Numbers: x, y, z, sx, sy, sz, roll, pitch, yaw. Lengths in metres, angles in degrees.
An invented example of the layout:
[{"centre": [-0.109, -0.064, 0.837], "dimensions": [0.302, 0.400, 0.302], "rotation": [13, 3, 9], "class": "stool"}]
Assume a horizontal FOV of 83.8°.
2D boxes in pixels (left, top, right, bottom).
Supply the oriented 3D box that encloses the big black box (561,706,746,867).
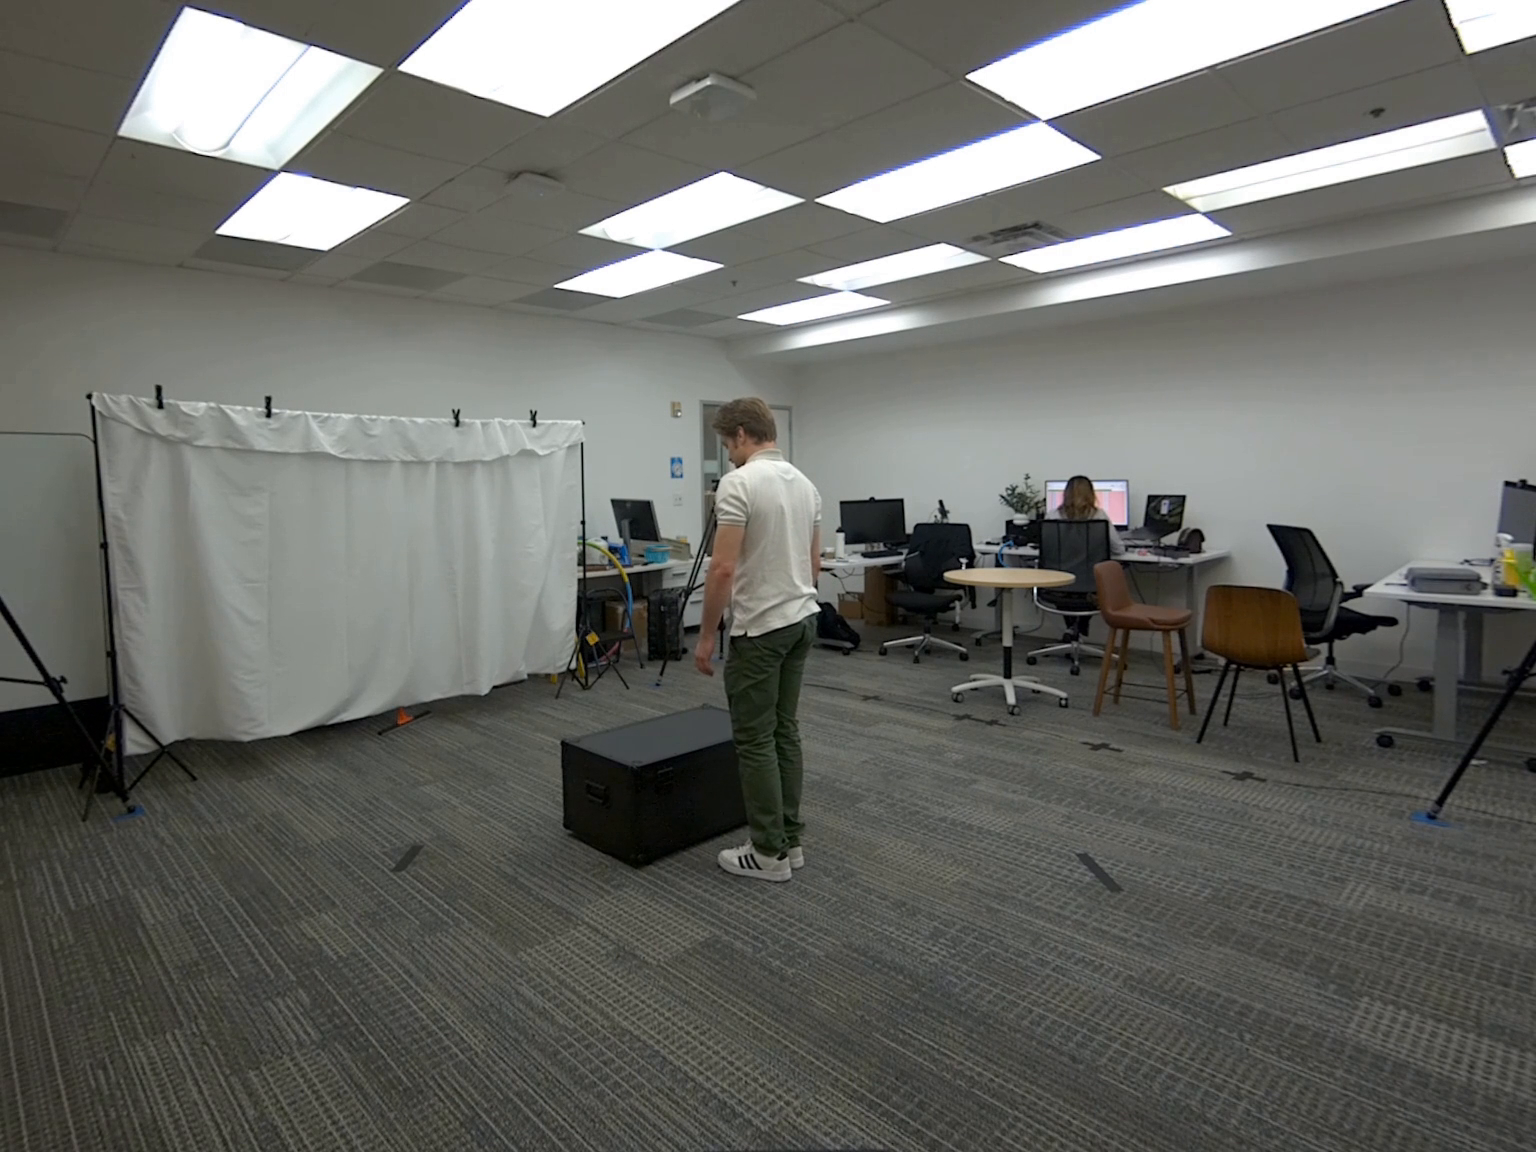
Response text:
[{"centre": [-0.347, 0.813, 3.508], "dimensions": [0.845, 0.384, 0.539], "rotation": [-6, 6, -44], "class": "big black box"}]
